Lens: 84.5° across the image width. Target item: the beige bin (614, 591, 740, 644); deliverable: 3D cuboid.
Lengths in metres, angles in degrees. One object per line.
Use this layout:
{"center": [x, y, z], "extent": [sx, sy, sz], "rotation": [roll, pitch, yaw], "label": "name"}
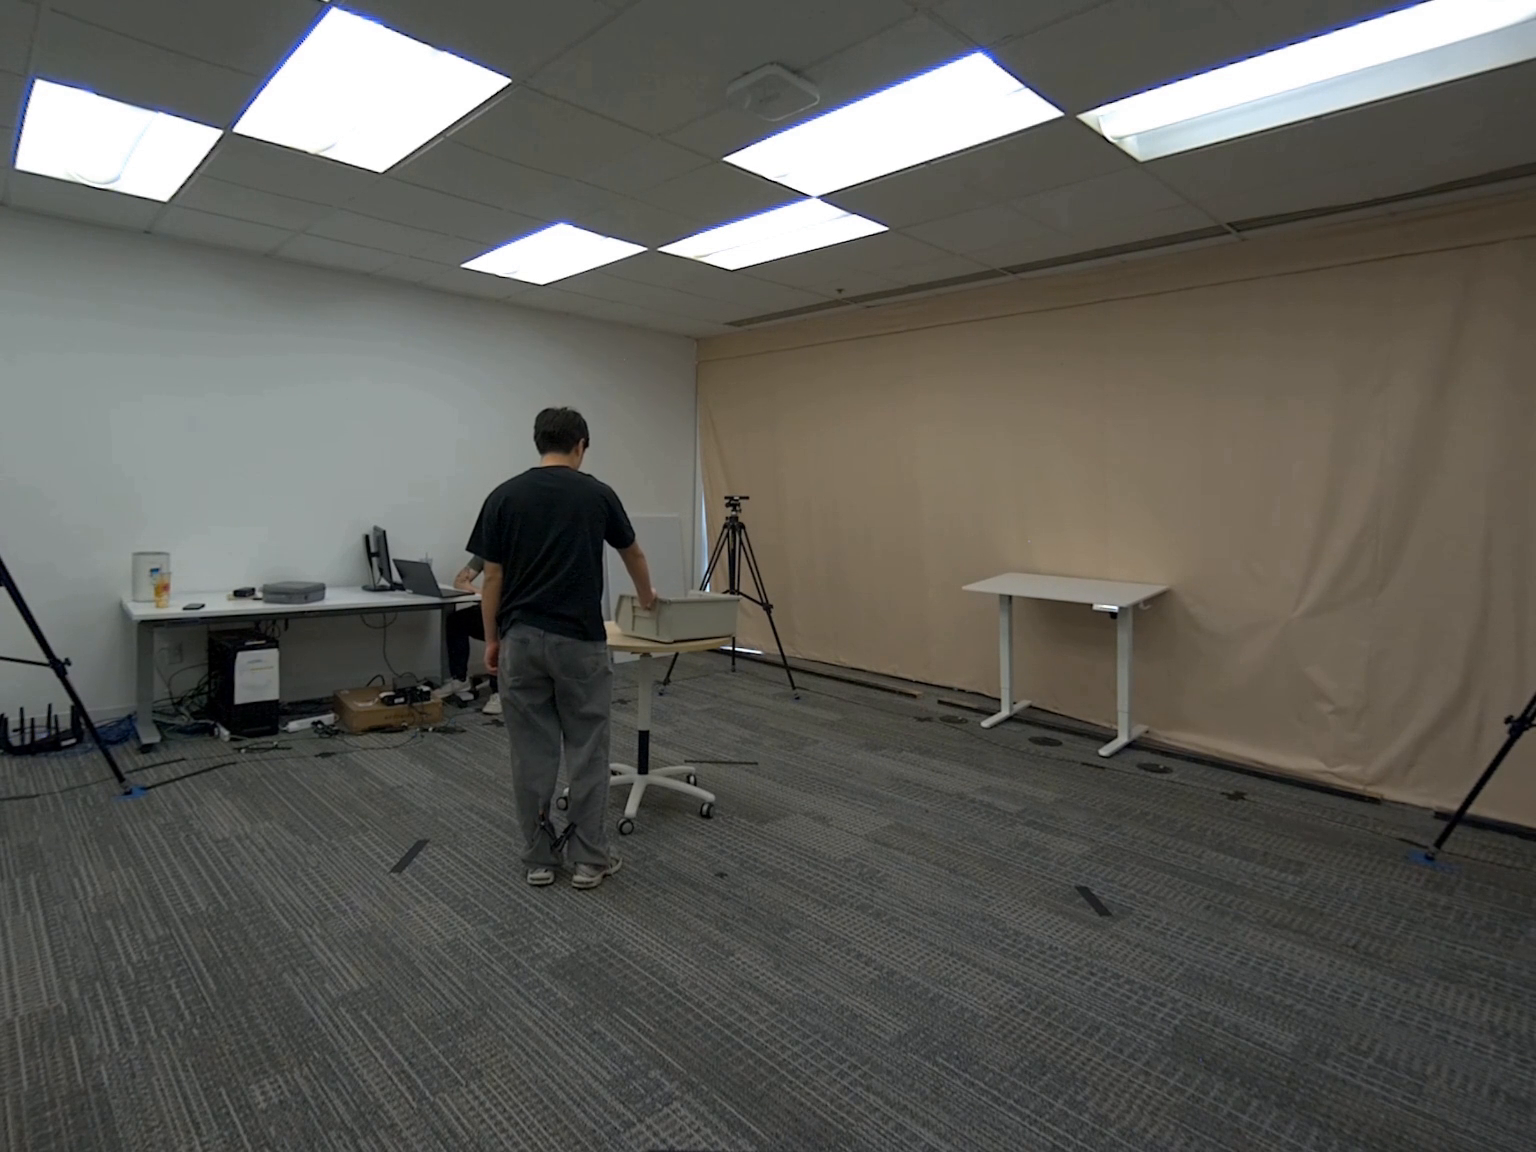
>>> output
{"center": [-0.402, 0.167, 3.698], "extent": [0.412, 0.188, 0.387], "rotation": [0, 5, -45], "label": "beige bin"}
